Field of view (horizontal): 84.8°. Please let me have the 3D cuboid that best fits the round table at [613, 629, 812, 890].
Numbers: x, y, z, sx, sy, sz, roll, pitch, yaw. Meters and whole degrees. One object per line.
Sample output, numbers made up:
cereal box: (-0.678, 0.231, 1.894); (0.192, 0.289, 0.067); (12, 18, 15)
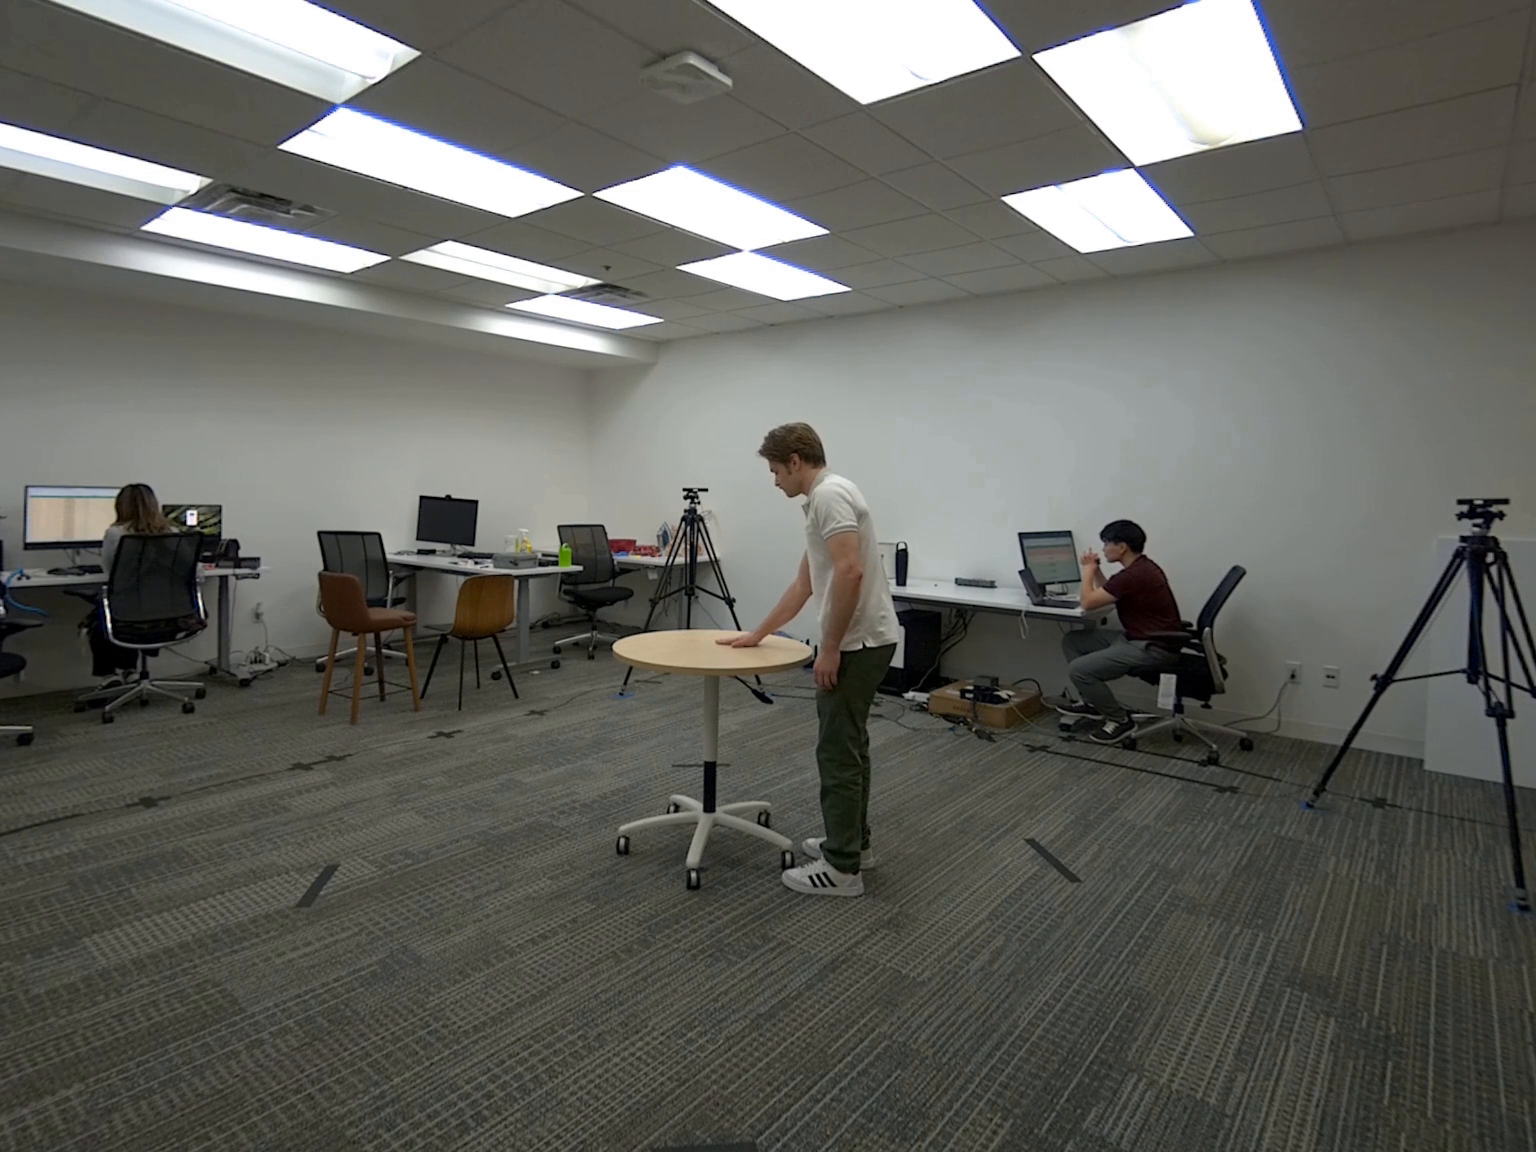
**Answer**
round table: (-0.241, 0.655, 3.304); (0.784, 0.784, 0.789); (1, 4, -2)
